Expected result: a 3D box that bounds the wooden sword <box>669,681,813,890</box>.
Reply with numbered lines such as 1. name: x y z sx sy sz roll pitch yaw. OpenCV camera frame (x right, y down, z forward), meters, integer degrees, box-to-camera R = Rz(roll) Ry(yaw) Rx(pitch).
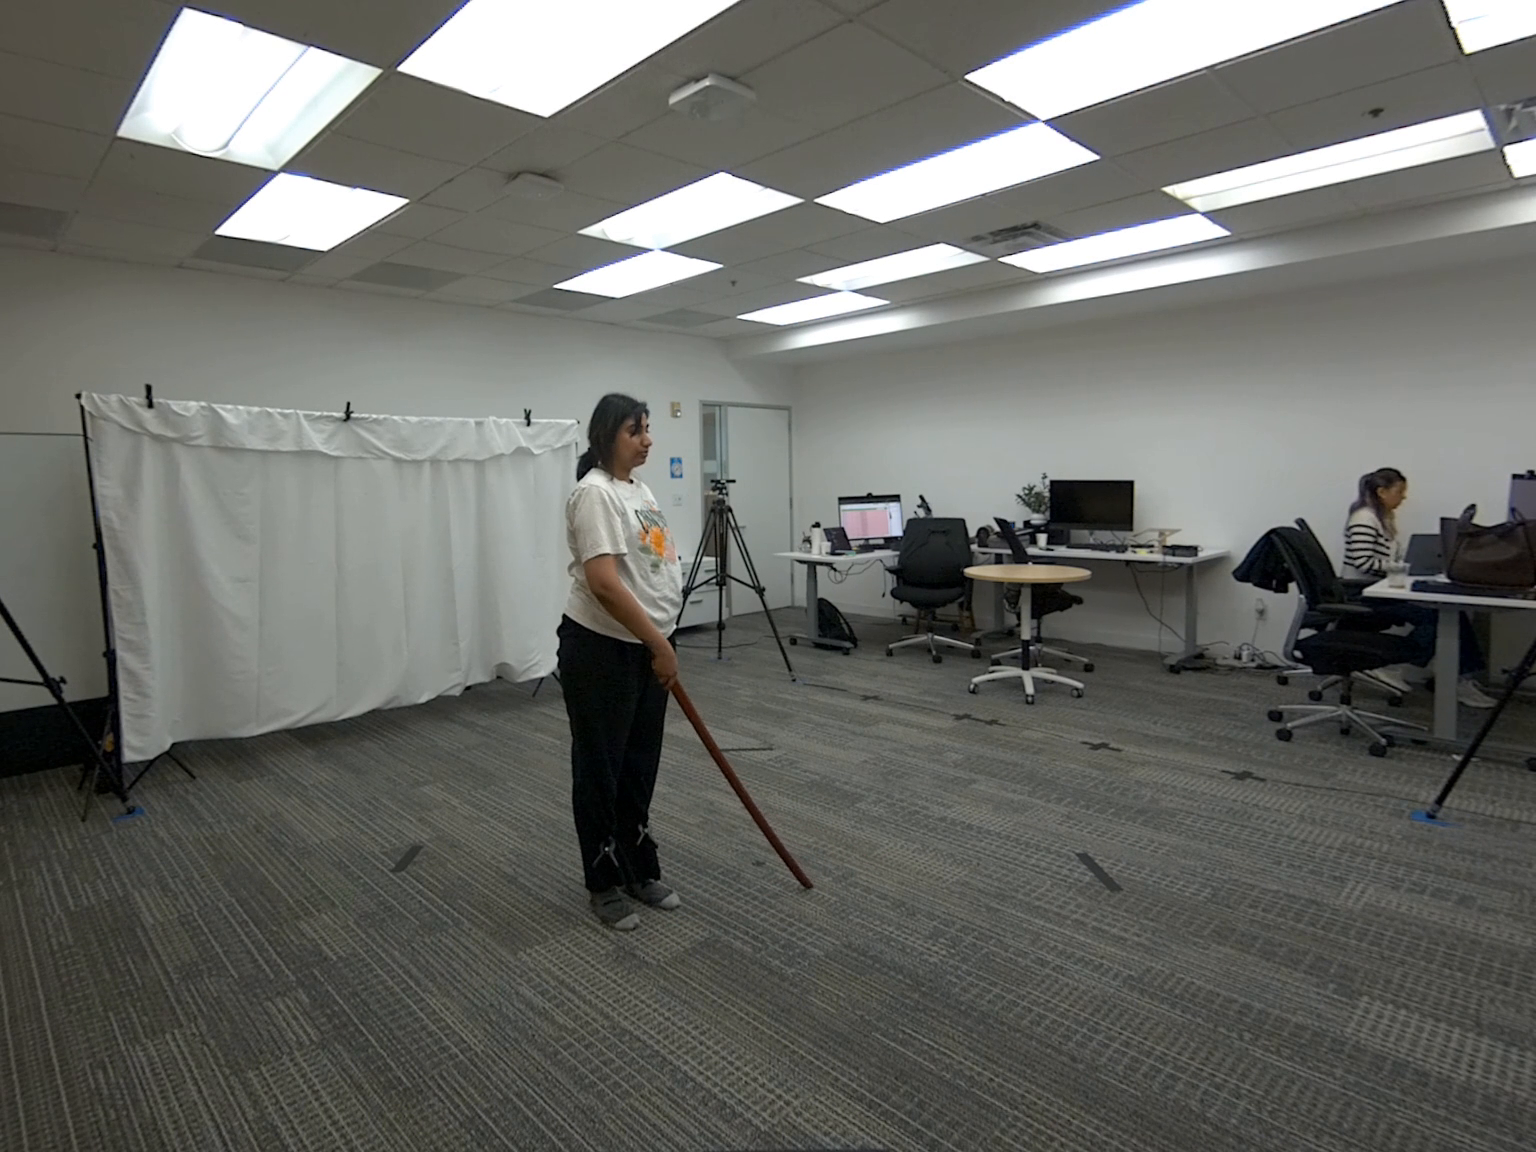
1. wooden sword: -0.111 0.650 2.783 0.024 1.003 0.052 -38 19 -24
